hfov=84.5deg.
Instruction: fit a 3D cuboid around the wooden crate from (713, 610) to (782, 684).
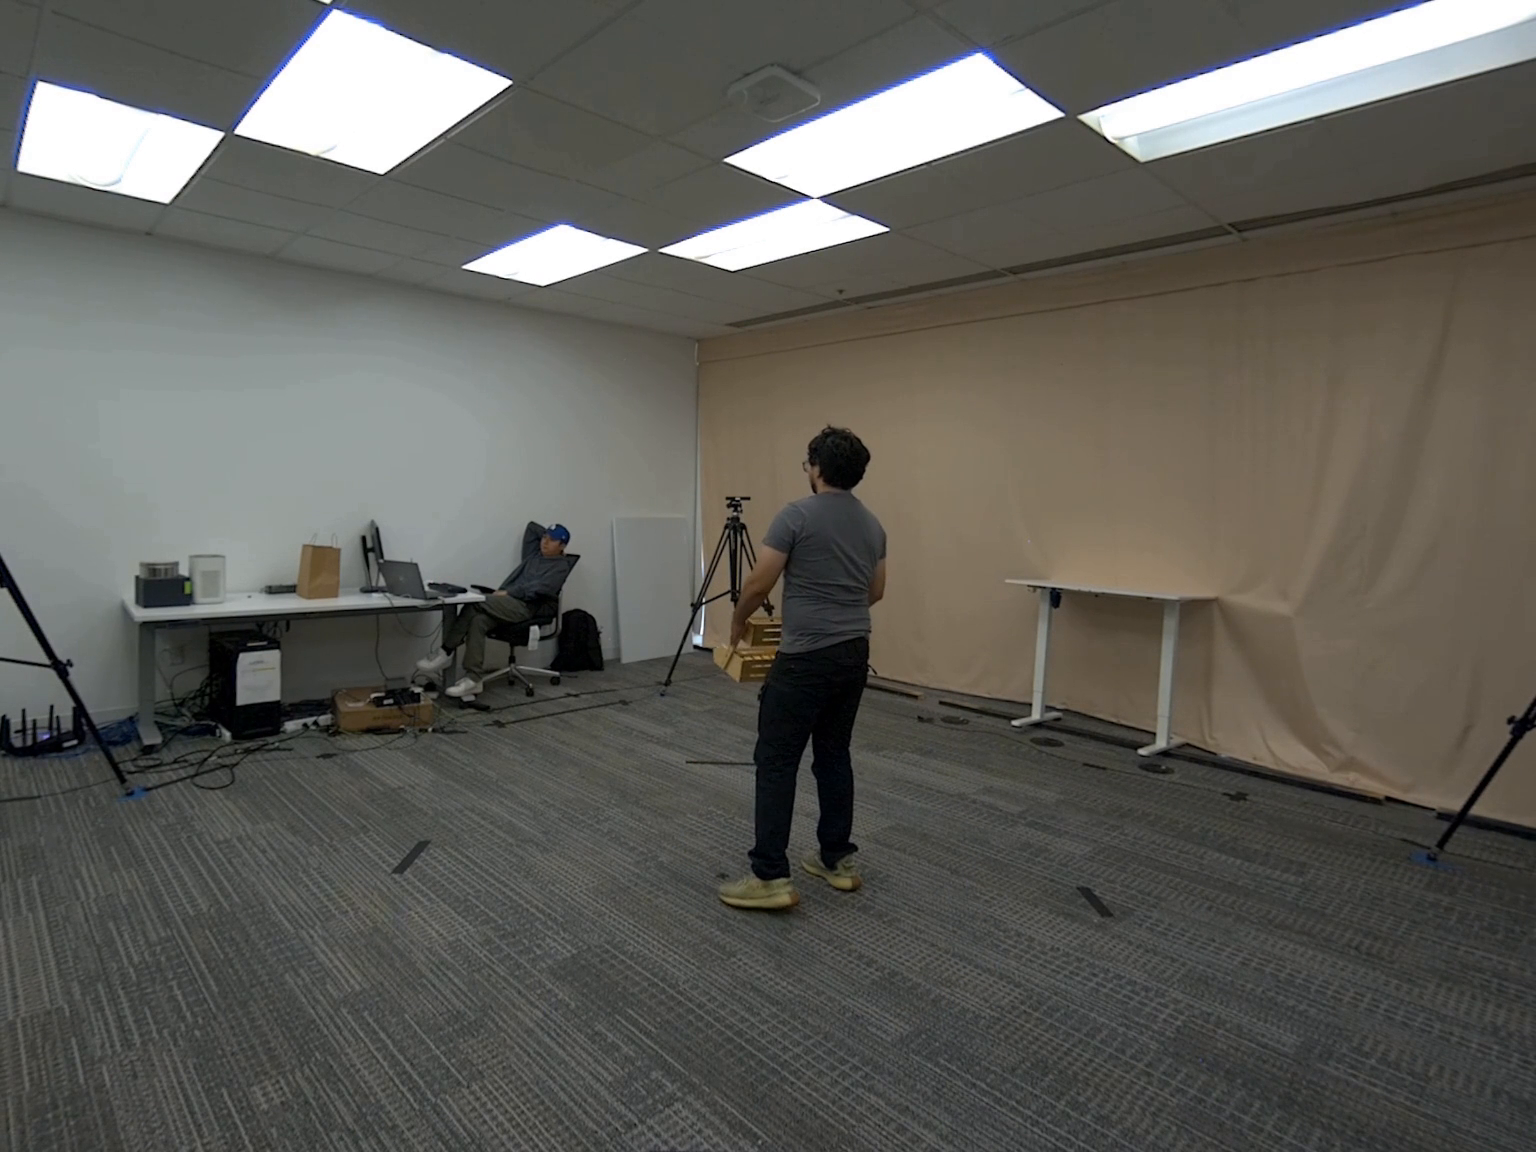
[{"bbox_3d":[-0.016,0.261,3.397,0.318,0.271,0.311,0,16,-29],"label":"wooden crate"}]
